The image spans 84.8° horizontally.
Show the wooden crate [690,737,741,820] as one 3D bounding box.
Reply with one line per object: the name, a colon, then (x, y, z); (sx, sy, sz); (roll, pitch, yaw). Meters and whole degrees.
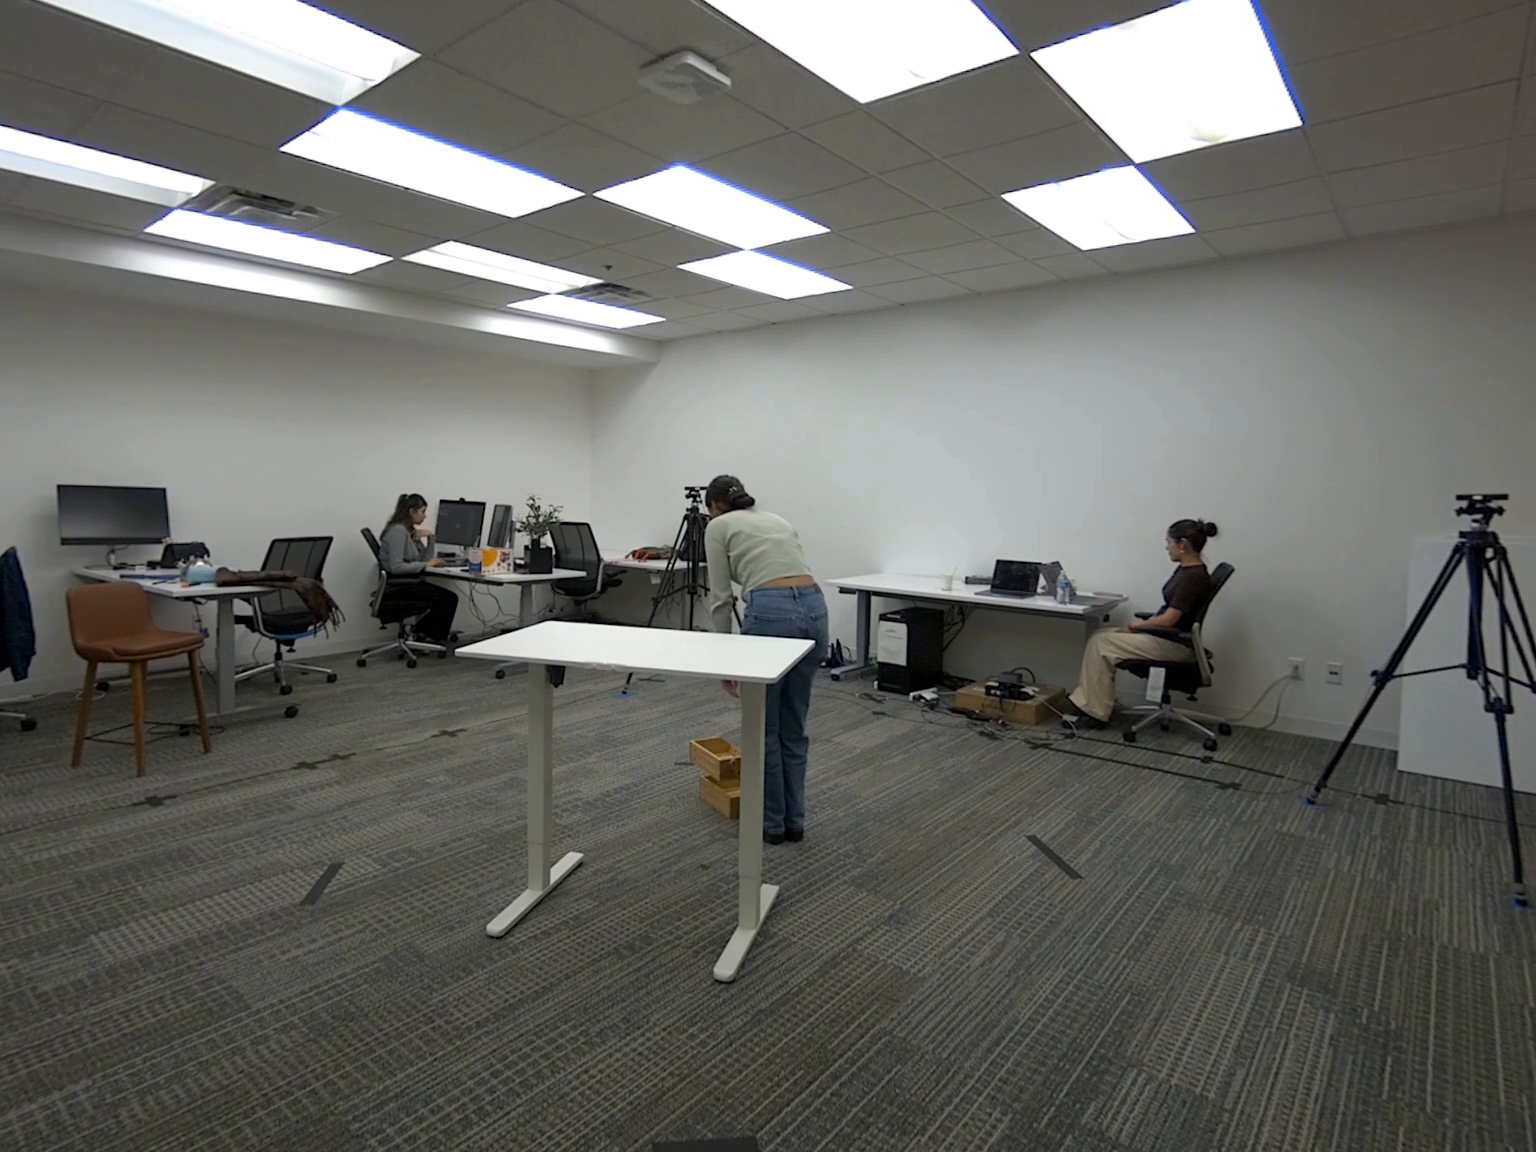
wooden crate: (-0.155, 0.869, 3.748); (0.294, 0.272, 0.334); (-2, 5, -28)
